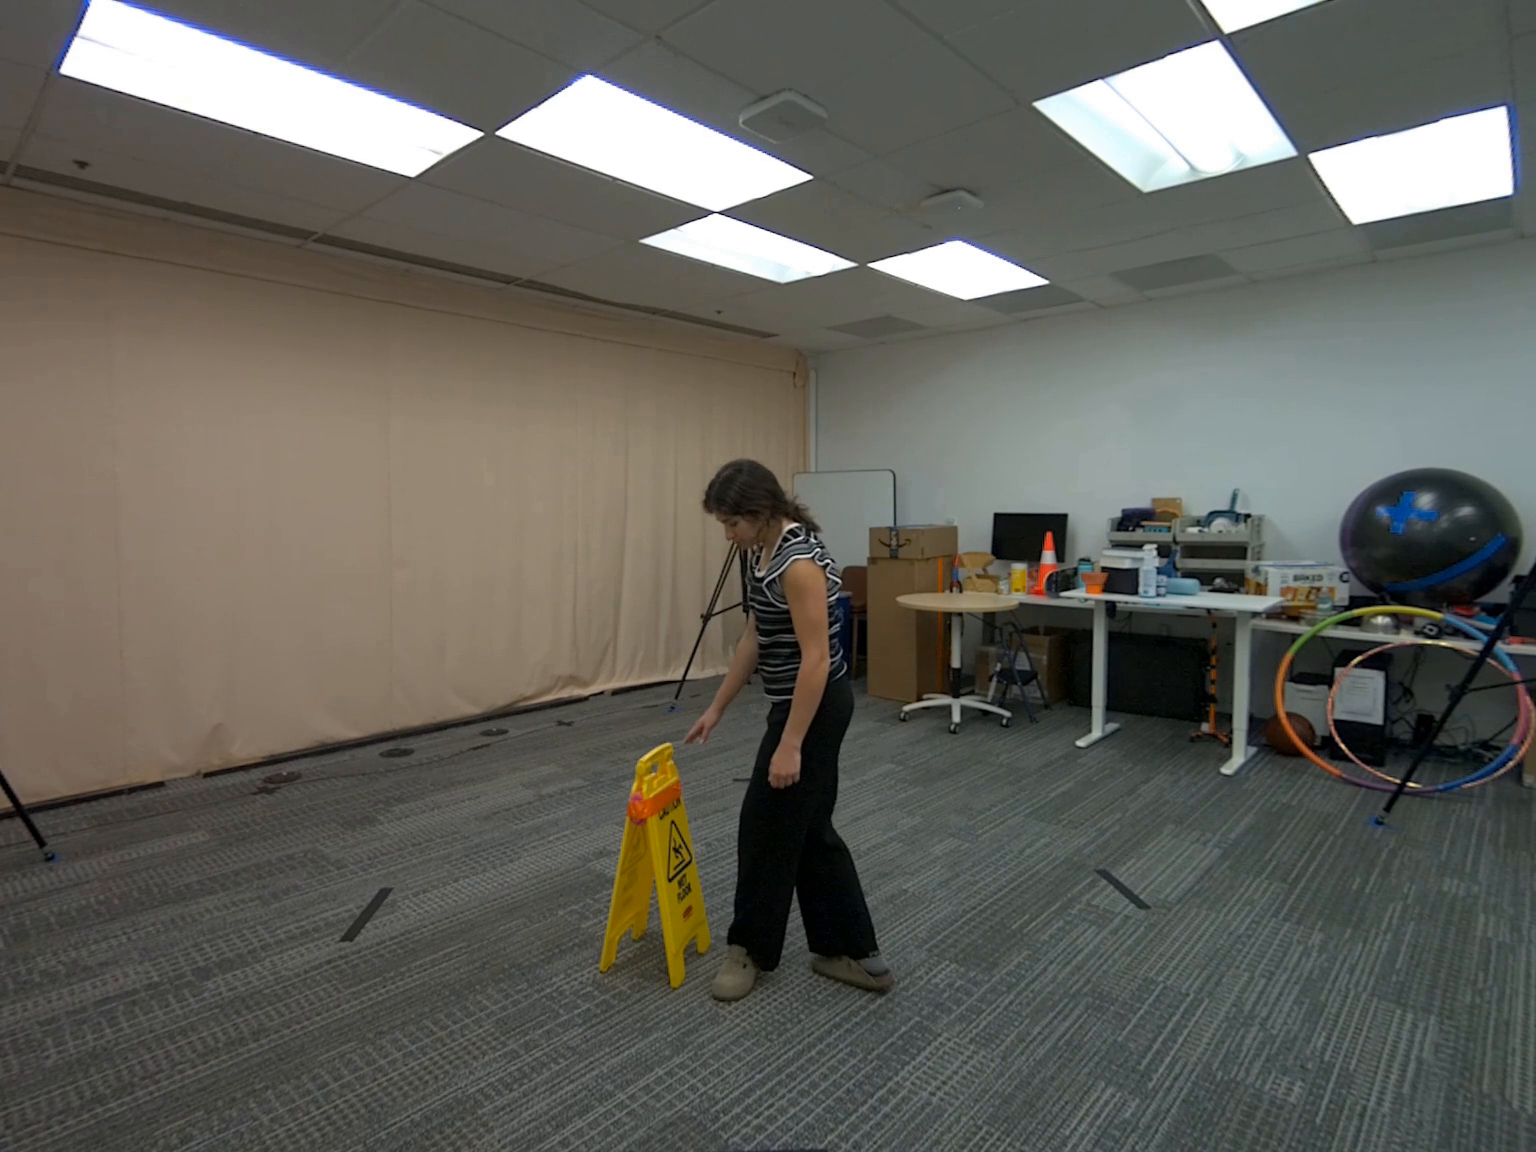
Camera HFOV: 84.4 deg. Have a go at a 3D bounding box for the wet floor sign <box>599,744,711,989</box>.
[{"bbox_3d":[-0.345,0.858,2.579,0.296,0.645,0.277,-1,2,20],"label":"wet floor sign"}]
